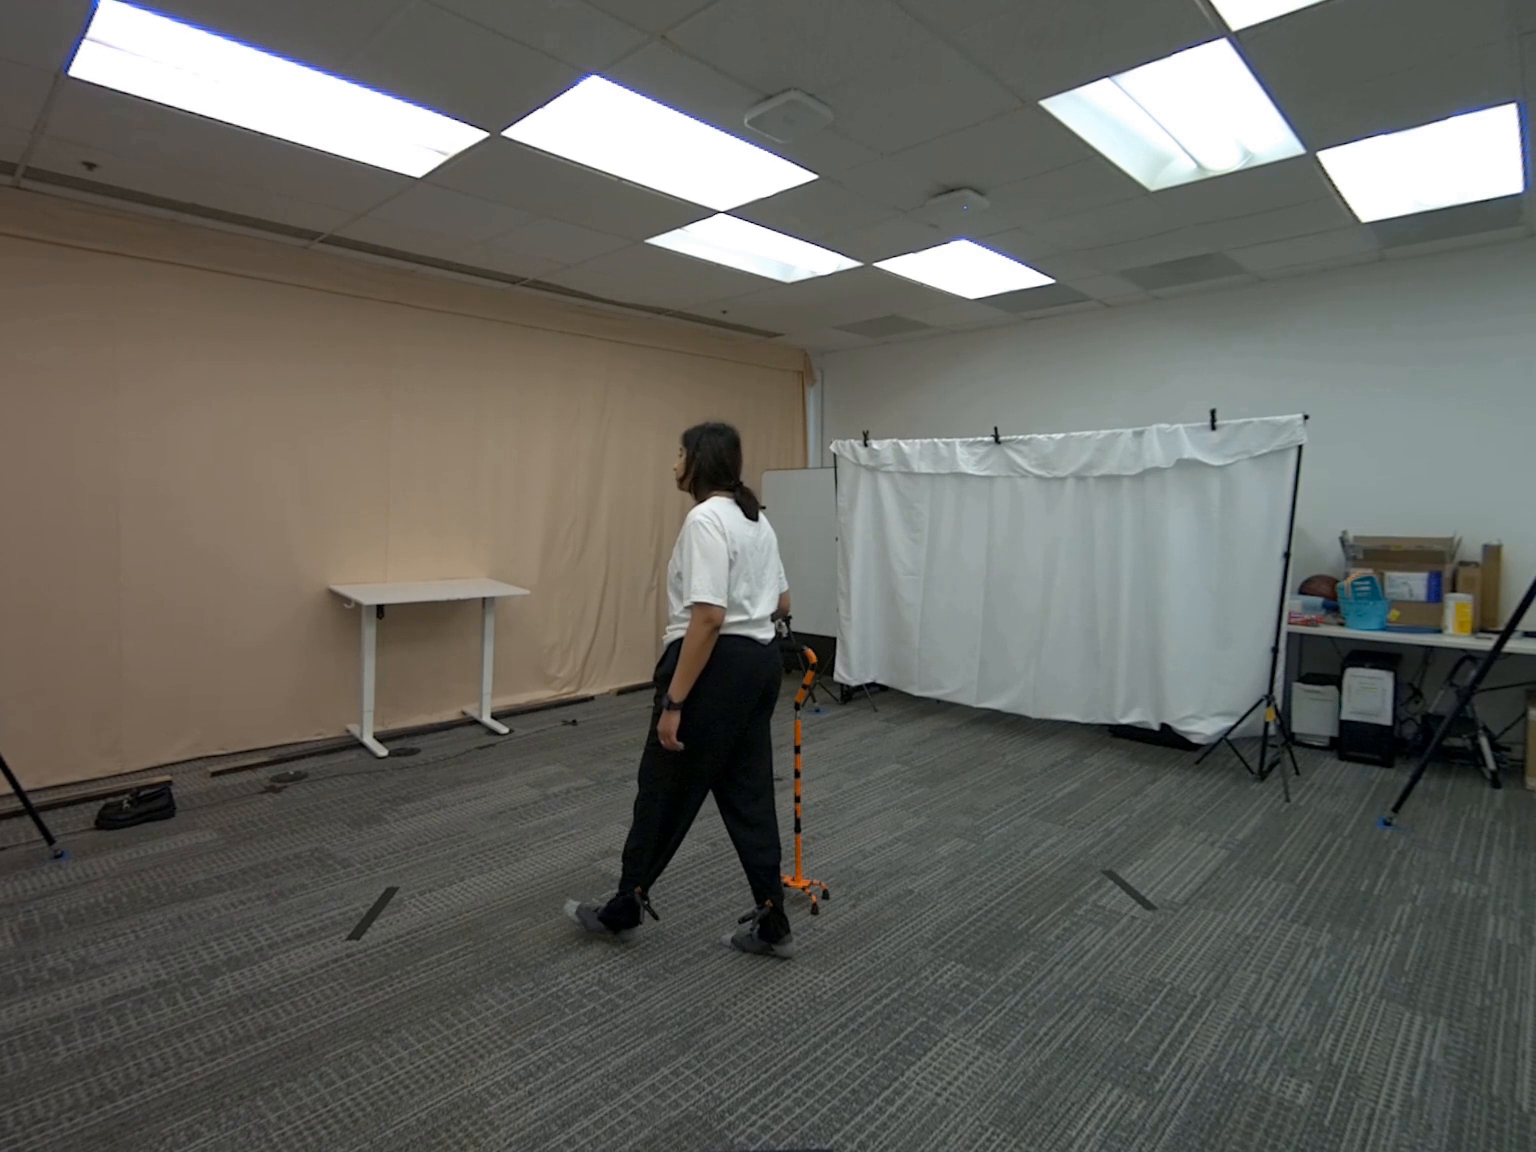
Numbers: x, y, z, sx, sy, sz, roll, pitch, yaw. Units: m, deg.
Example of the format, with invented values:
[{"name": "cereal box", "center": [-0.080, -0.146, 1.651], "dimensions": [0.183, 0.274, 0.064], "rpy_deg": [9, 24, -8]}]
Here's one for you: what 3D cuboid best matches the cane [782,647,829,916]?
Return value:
[{"name": "cane", "center": [0.101, 0.694, 2.945], "dimensions": [0.211, 0.906, 0.148], "rpy_deg": [1, 3, 23]}]
